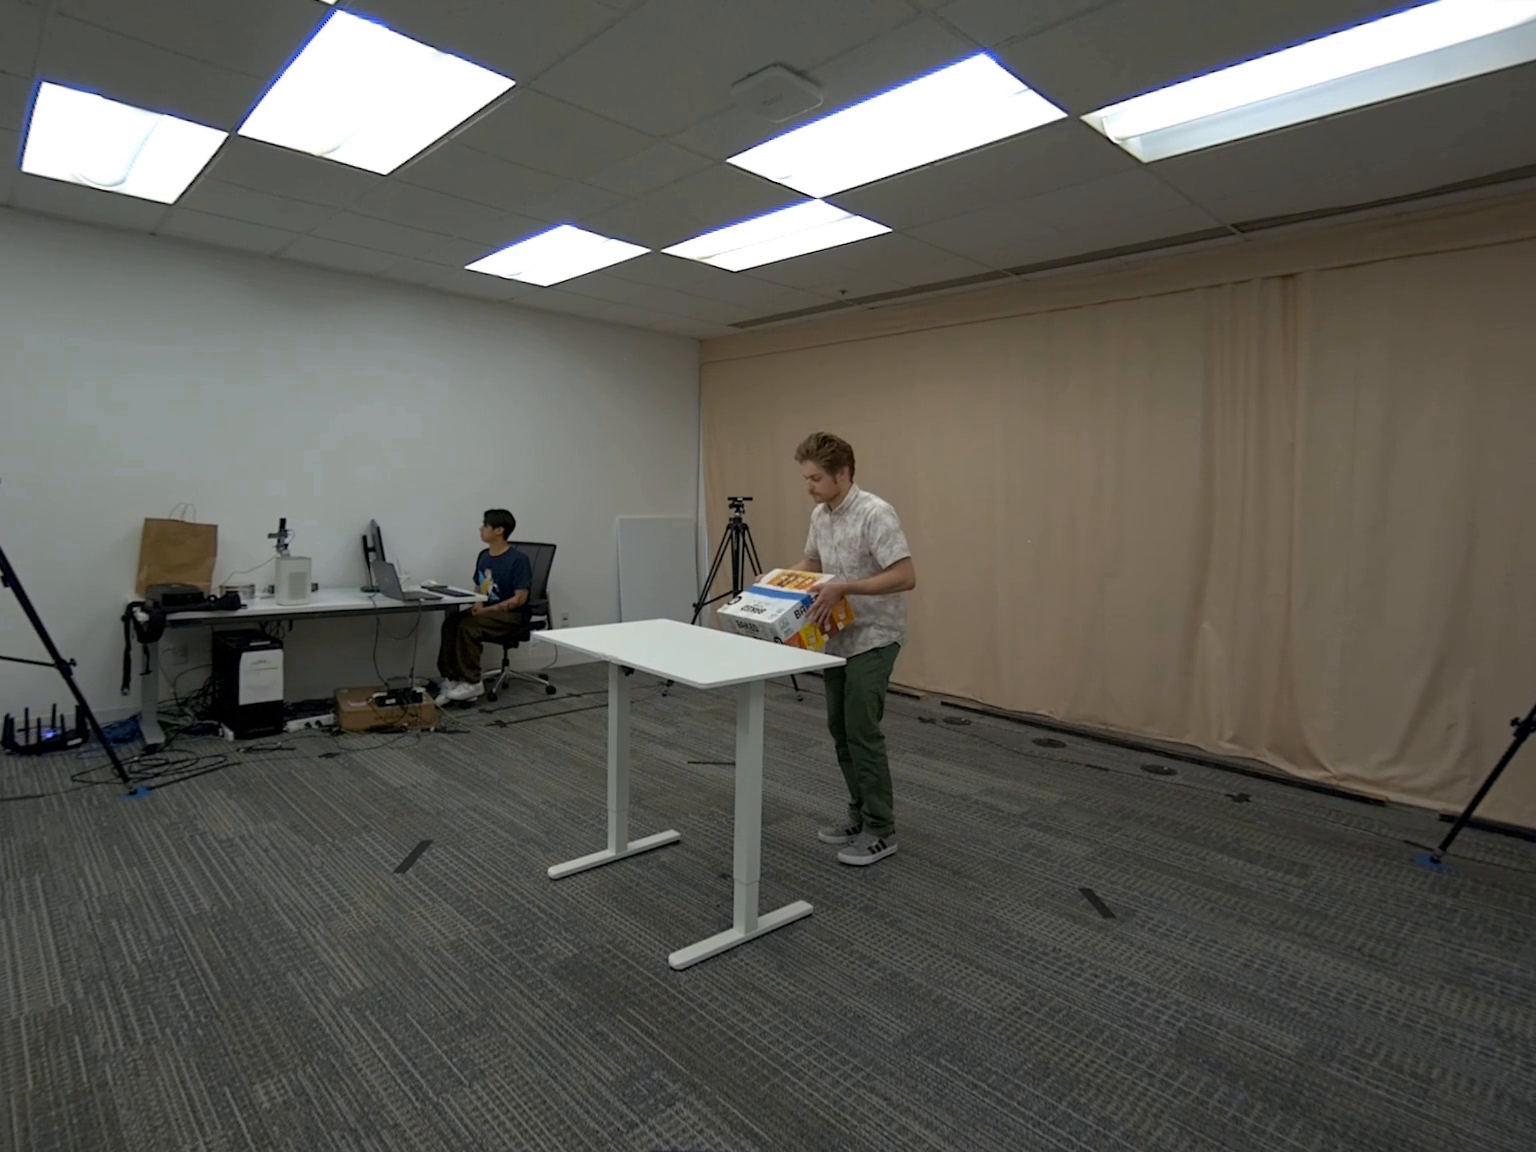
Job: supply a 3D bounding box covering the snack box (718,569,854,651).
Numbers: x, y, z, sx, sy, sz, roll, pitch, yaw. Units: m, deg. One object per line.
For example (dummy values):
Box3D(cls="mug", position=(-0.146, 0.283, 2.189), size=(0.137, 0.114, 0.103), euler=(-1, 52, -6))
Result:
Box3D(cls="snack box", position=(0.057, 0.157, 3.361), size=(0.338, 0.202, 0.415), euler=(-34, 22, -27))
